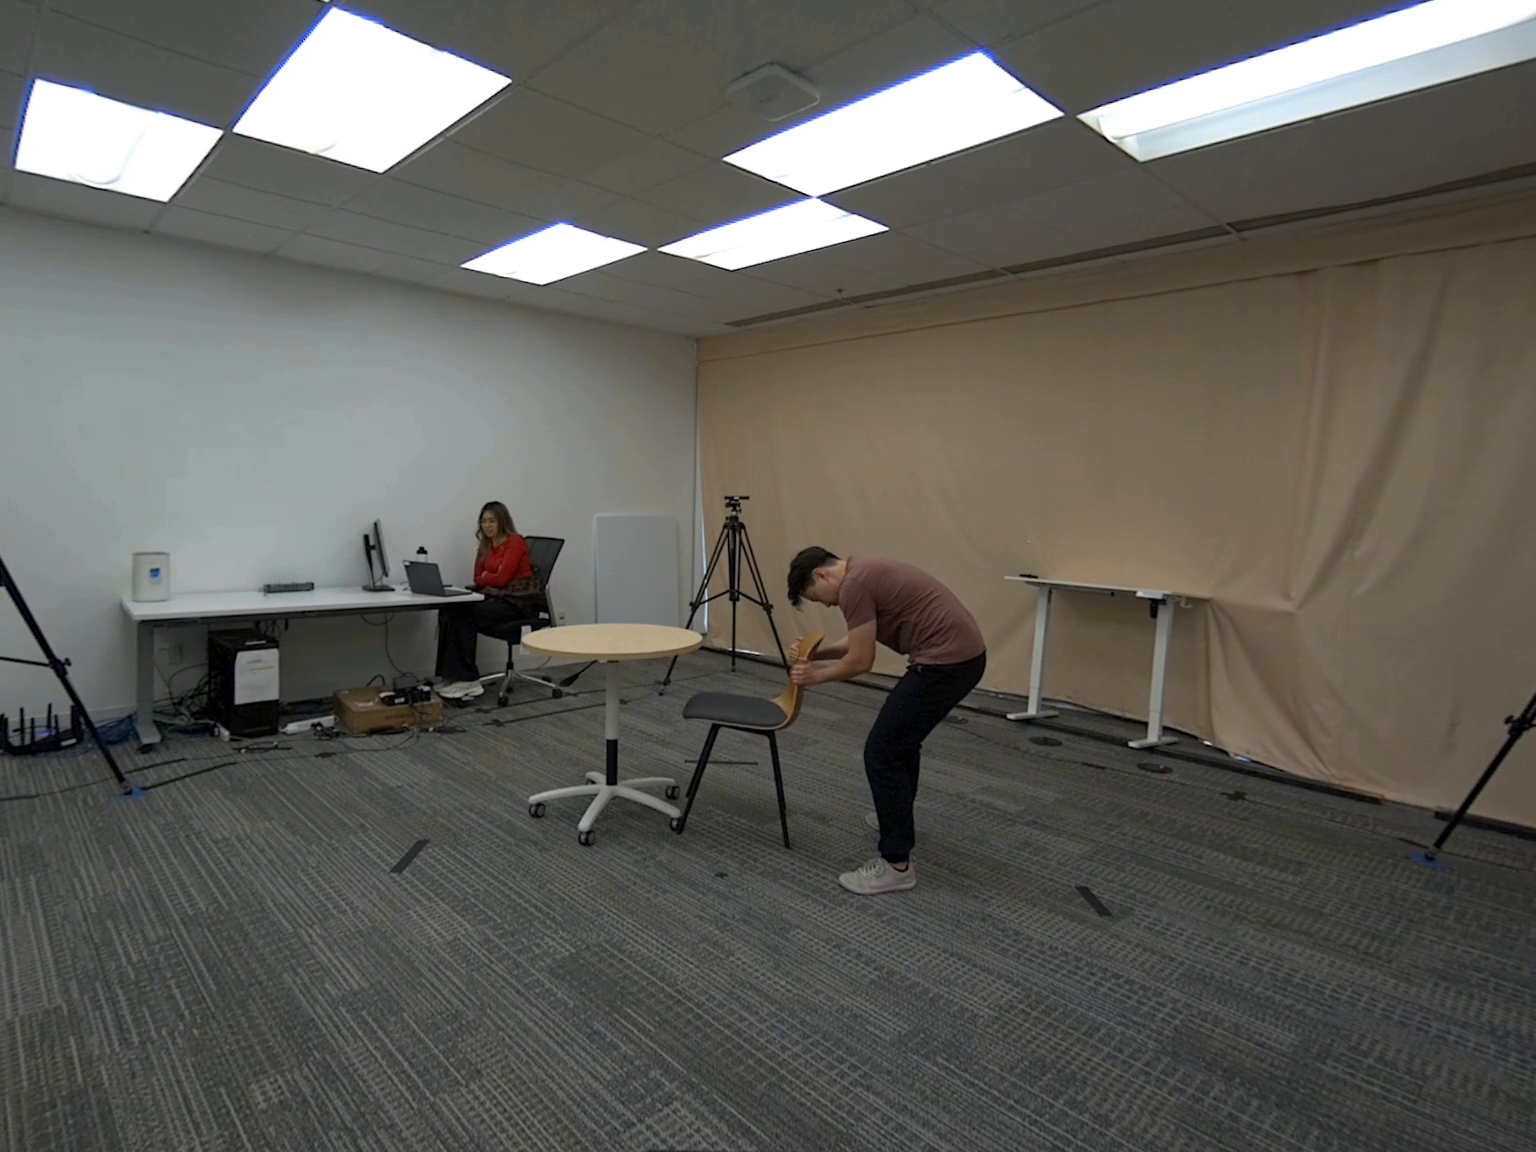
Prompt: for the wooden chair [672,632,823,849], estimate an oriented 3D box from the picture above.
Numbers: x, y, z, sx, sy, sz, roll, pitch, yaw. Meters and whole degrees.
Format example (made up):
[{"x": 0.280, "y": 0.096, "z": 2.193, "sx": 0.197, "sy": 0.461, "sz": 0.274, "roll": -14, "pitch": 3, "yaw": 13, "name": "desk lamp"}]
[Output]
[{"x": -0.102, "y": 0.619, "z": 3.539, "sx": 0.524, "sy": 0.875, "sz": 0.479, "roll": 11, "pitch": 4, "yaw": 0, "name": "wooden chair"}]
